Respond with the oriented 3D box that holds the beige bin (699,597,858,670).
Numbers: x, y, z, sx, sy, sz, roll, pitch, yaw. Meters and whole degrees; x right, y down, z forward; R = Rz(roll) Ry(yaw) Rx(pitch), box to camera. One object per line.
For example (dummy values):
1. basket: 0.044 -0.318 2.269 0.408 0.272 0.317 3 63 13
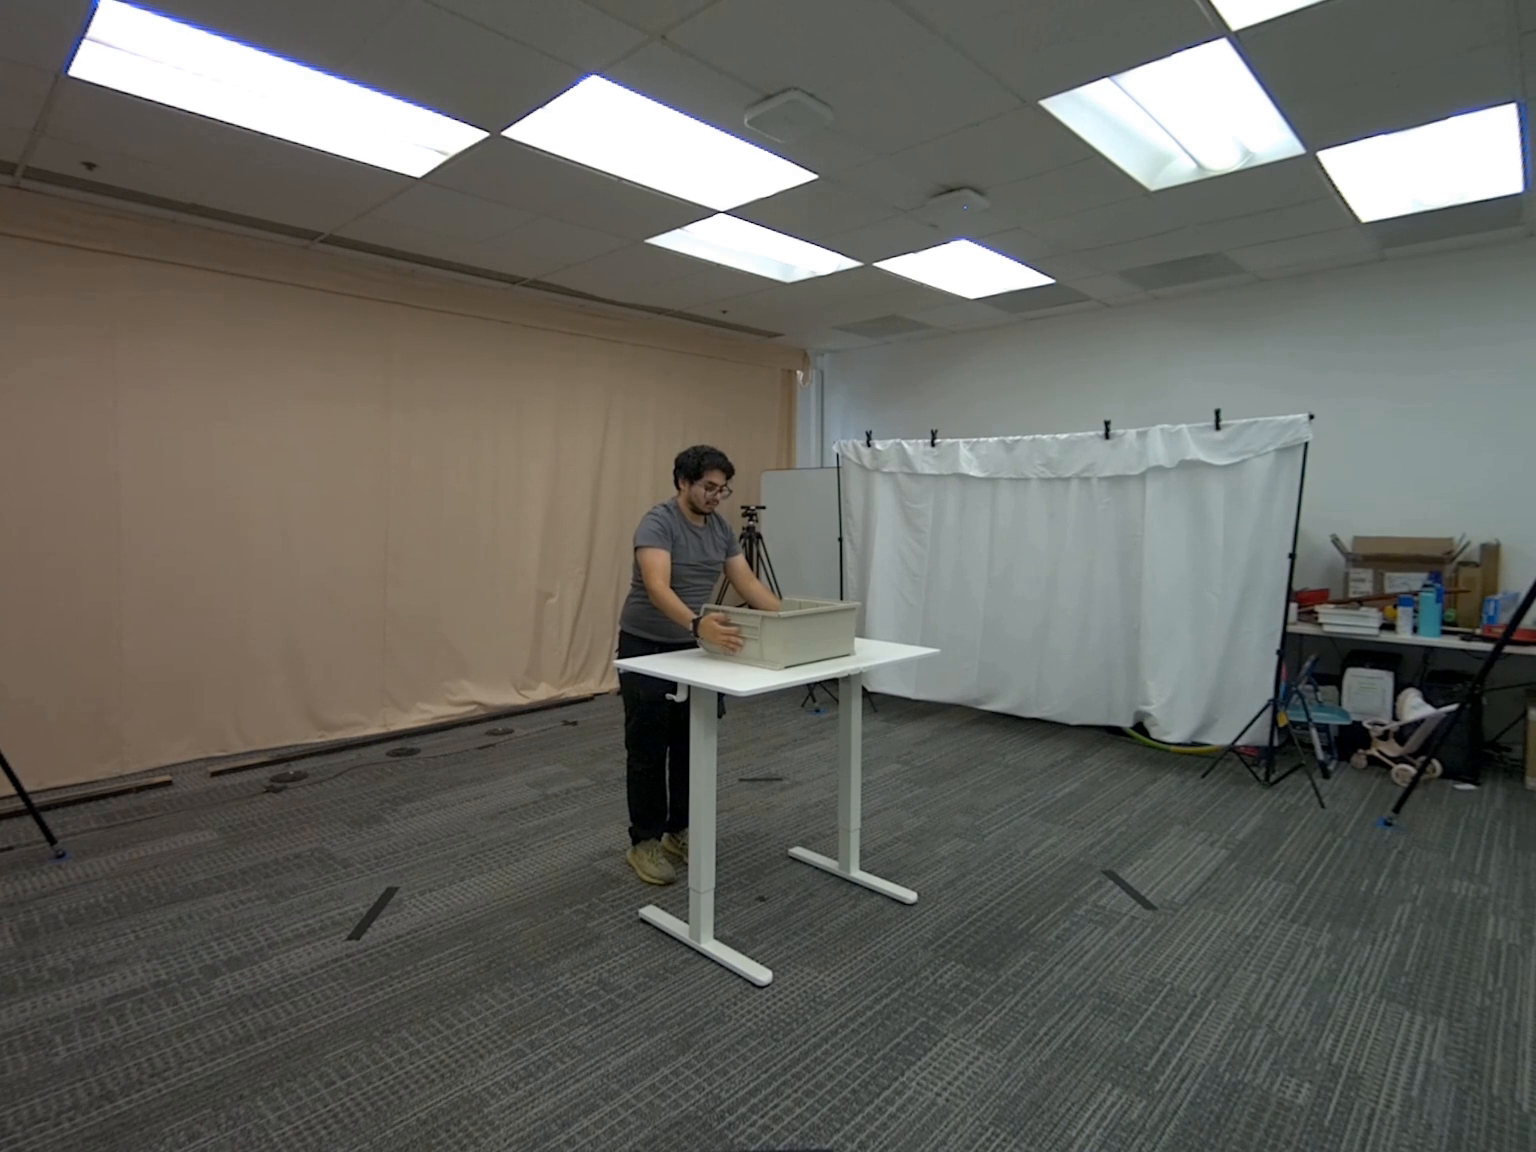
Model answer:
1. beige bin: 0.041 0.186 2.849 0.390 0.188 0.409 6 6 43
